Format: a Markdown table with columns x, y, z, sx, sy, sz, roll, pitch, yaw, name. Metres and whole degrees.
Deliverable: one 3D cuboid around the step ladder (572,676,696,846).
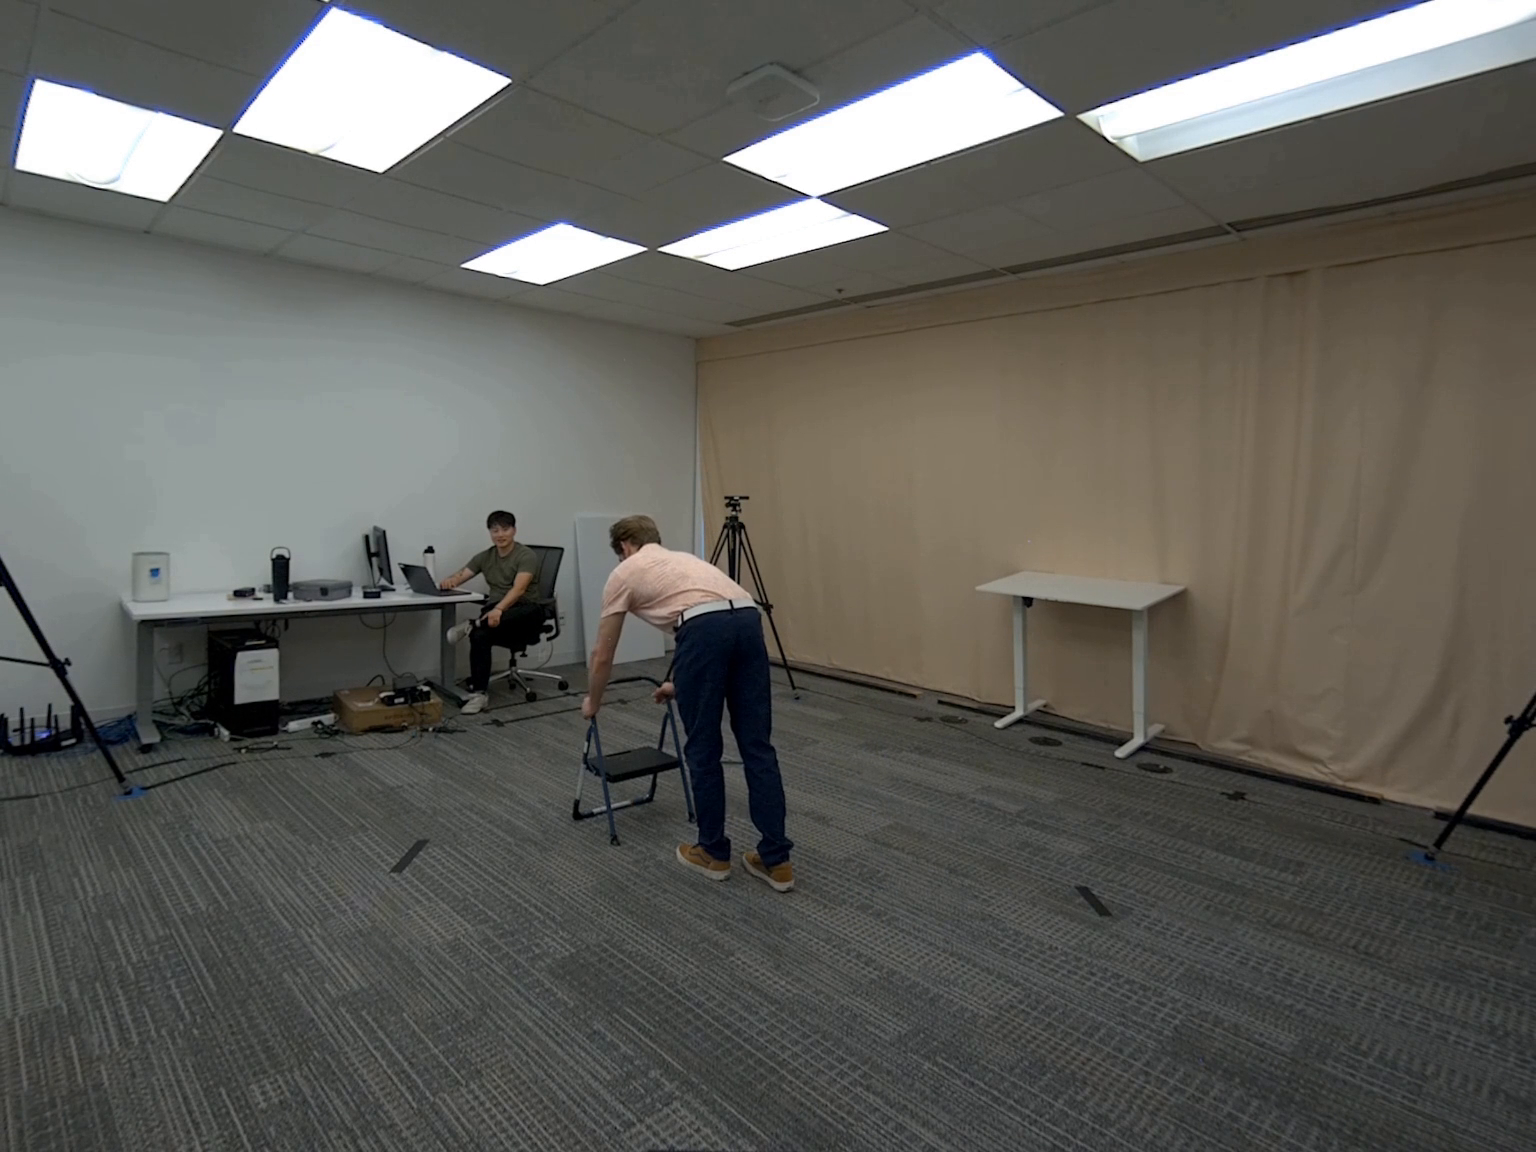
| x | y | z | sx | sy | sz | roll | pitch | yaw | name |
| --- | --- | --- | --- | --- | --- | --- | --- | --- | --- |
| -0.572 | 0.749 | 3.590 | 0.421 | 0.604 | 0.358 | -2 | 5 | -43 | step ladder |
